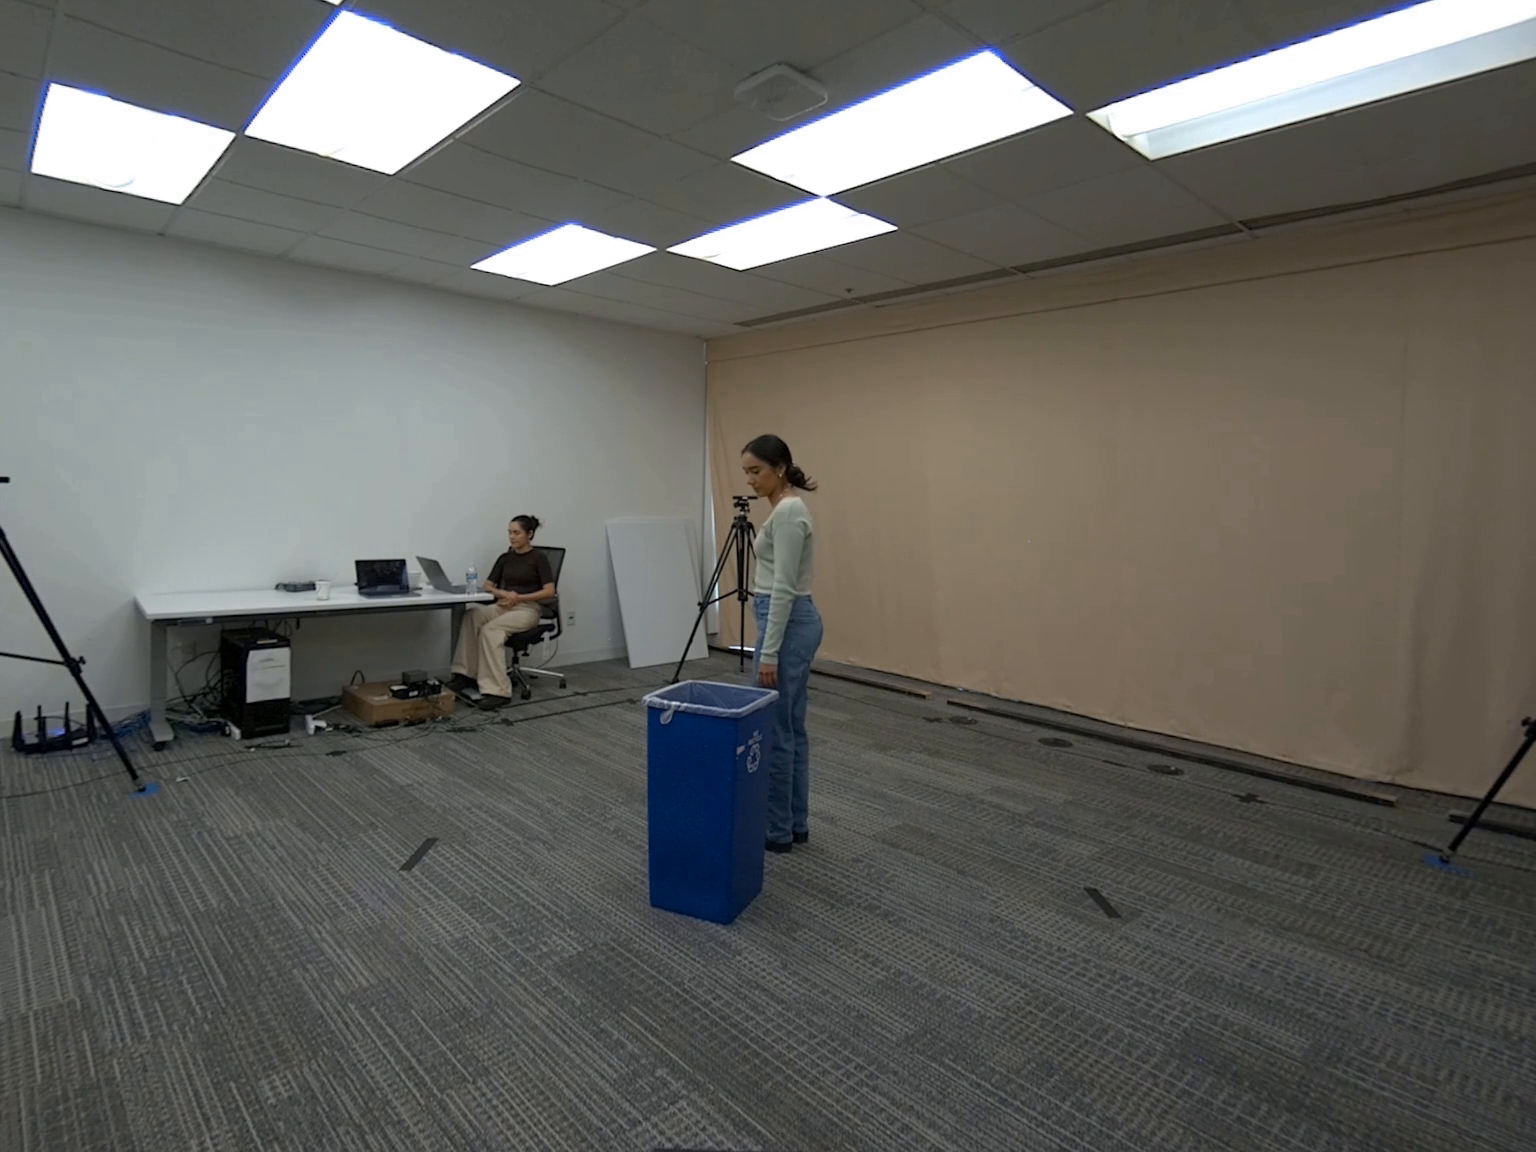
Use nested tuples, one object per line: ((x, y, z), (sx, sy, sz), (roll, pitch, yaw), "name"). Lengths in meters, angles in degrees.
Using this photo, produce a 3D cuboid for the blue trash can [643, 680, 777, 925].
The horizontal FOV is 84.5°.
((-0.208, 0.762, 2.914), (0.385, 0.712, 0.368), (3, 4, 23), "blue trash can")
